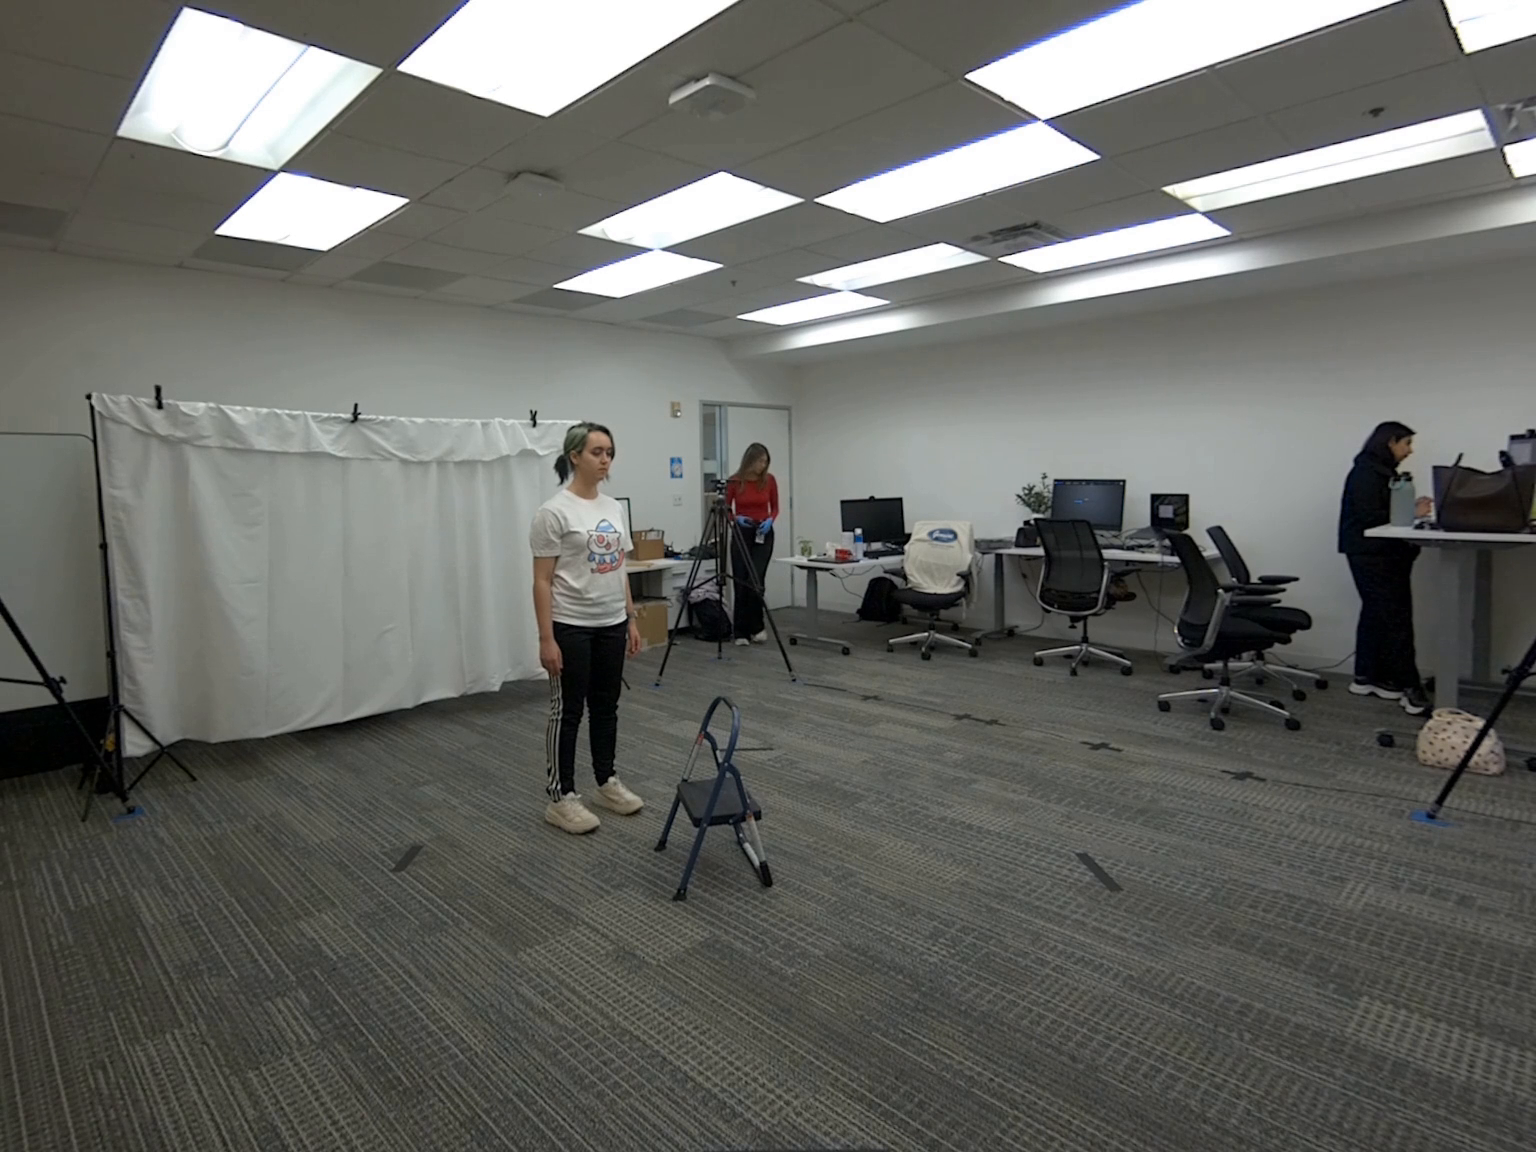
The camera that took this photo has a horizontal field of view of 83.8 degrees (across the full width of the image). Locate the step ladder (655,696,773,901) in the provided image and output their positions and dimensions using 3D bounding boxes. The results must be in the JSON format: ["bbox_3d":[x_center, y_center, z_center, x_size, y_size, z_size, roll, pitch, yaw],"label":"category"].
[{"bbox_3d":[-0.206,0.753,3.069,0.344,0.604,0.438,-2,5,-16],"label":"step ladder"}]
